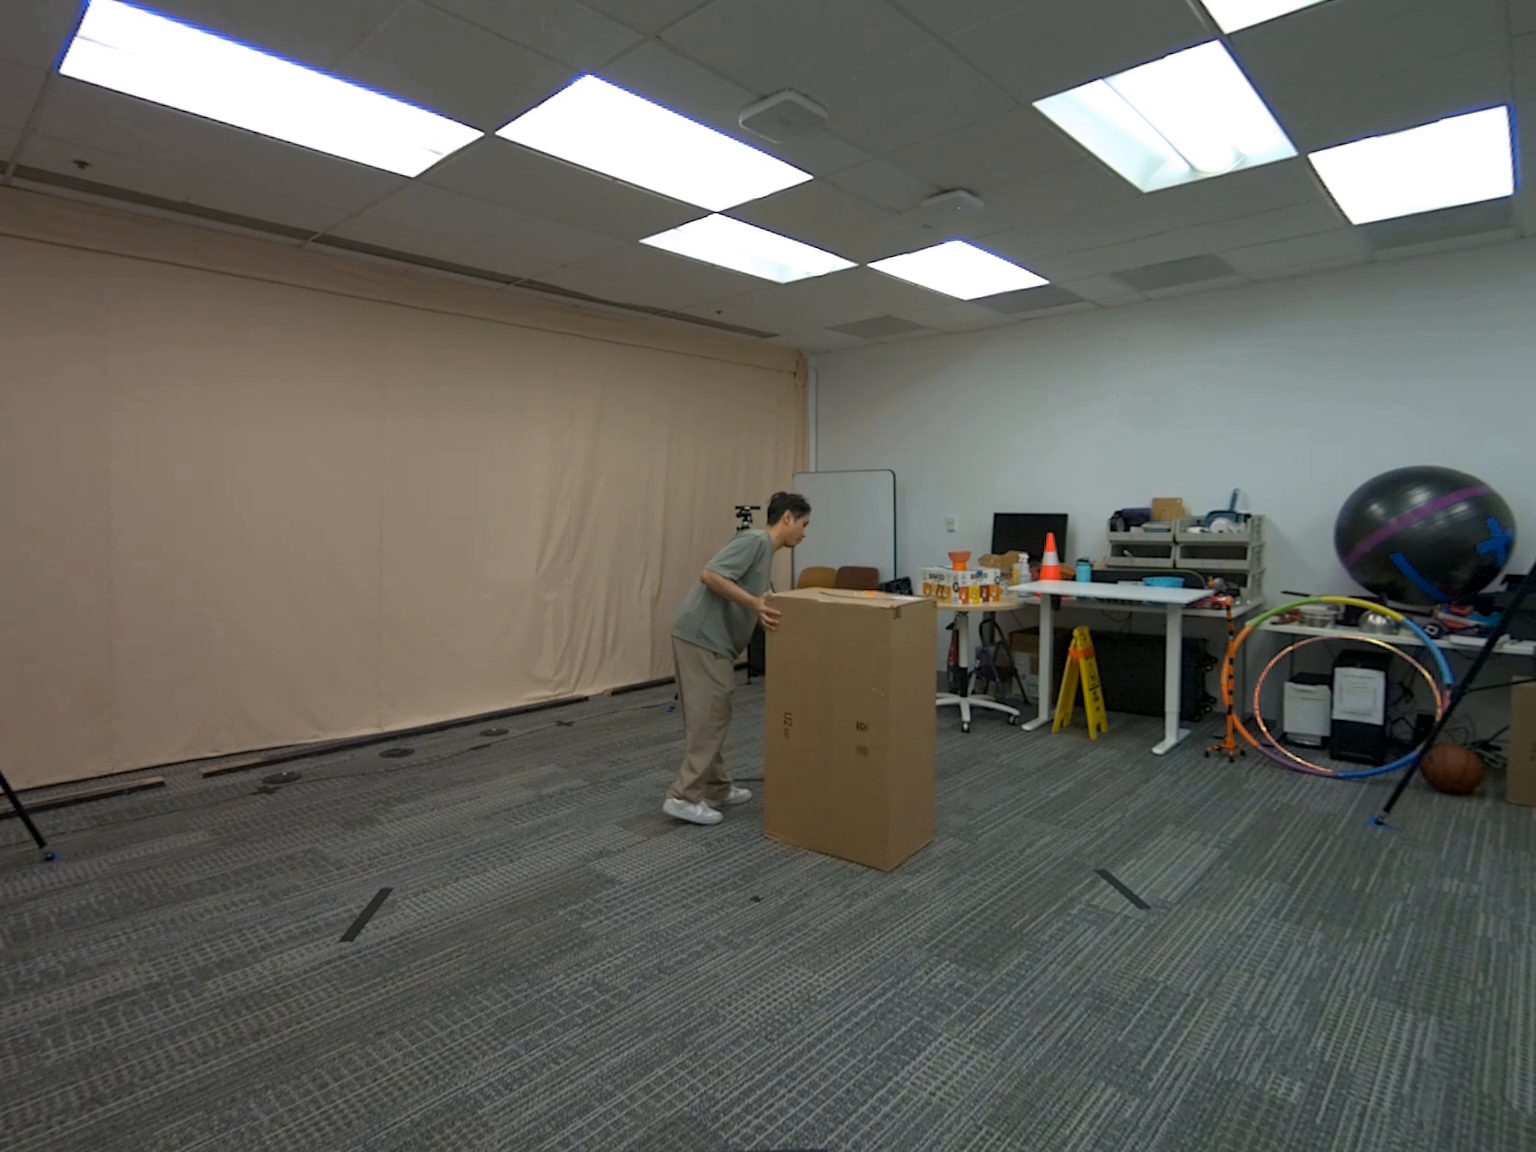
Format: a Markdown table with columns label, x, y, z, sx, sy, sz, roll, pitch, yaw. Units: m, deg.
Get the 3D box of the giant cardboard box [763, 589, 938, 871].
| label | x | y | z | sx | sy | sz | roll | pitch | yaw |
| --- | --- | --- | --- | --- | --- | --- | --- | --- | --- |
| giant cardboard box | 0.348 | 0.594 | 3.503 | 0.596 | 1.024 | 0.414 | 3 | 4 | 36 |
